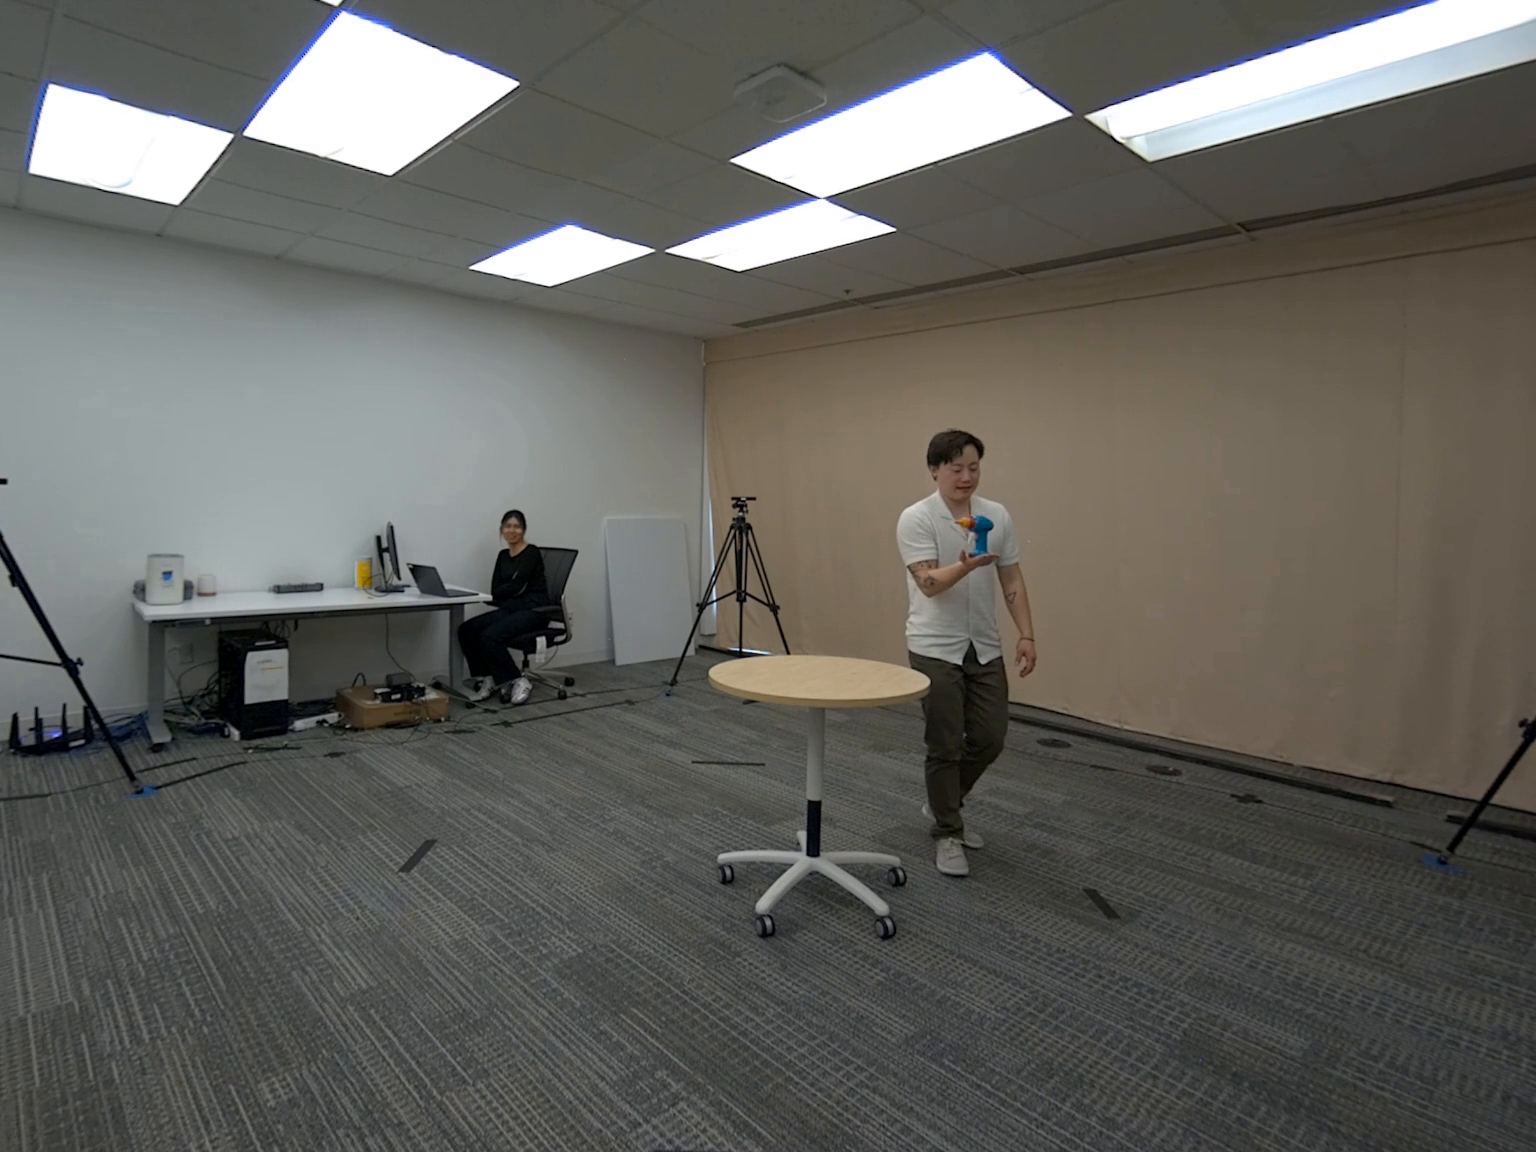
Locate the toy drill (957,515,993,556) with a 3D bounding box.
[{"bbox_3d":[0.695,-0.137,2.893,0.167,0.146,0.062,6,3,-19],"label":"toy drill"}]
